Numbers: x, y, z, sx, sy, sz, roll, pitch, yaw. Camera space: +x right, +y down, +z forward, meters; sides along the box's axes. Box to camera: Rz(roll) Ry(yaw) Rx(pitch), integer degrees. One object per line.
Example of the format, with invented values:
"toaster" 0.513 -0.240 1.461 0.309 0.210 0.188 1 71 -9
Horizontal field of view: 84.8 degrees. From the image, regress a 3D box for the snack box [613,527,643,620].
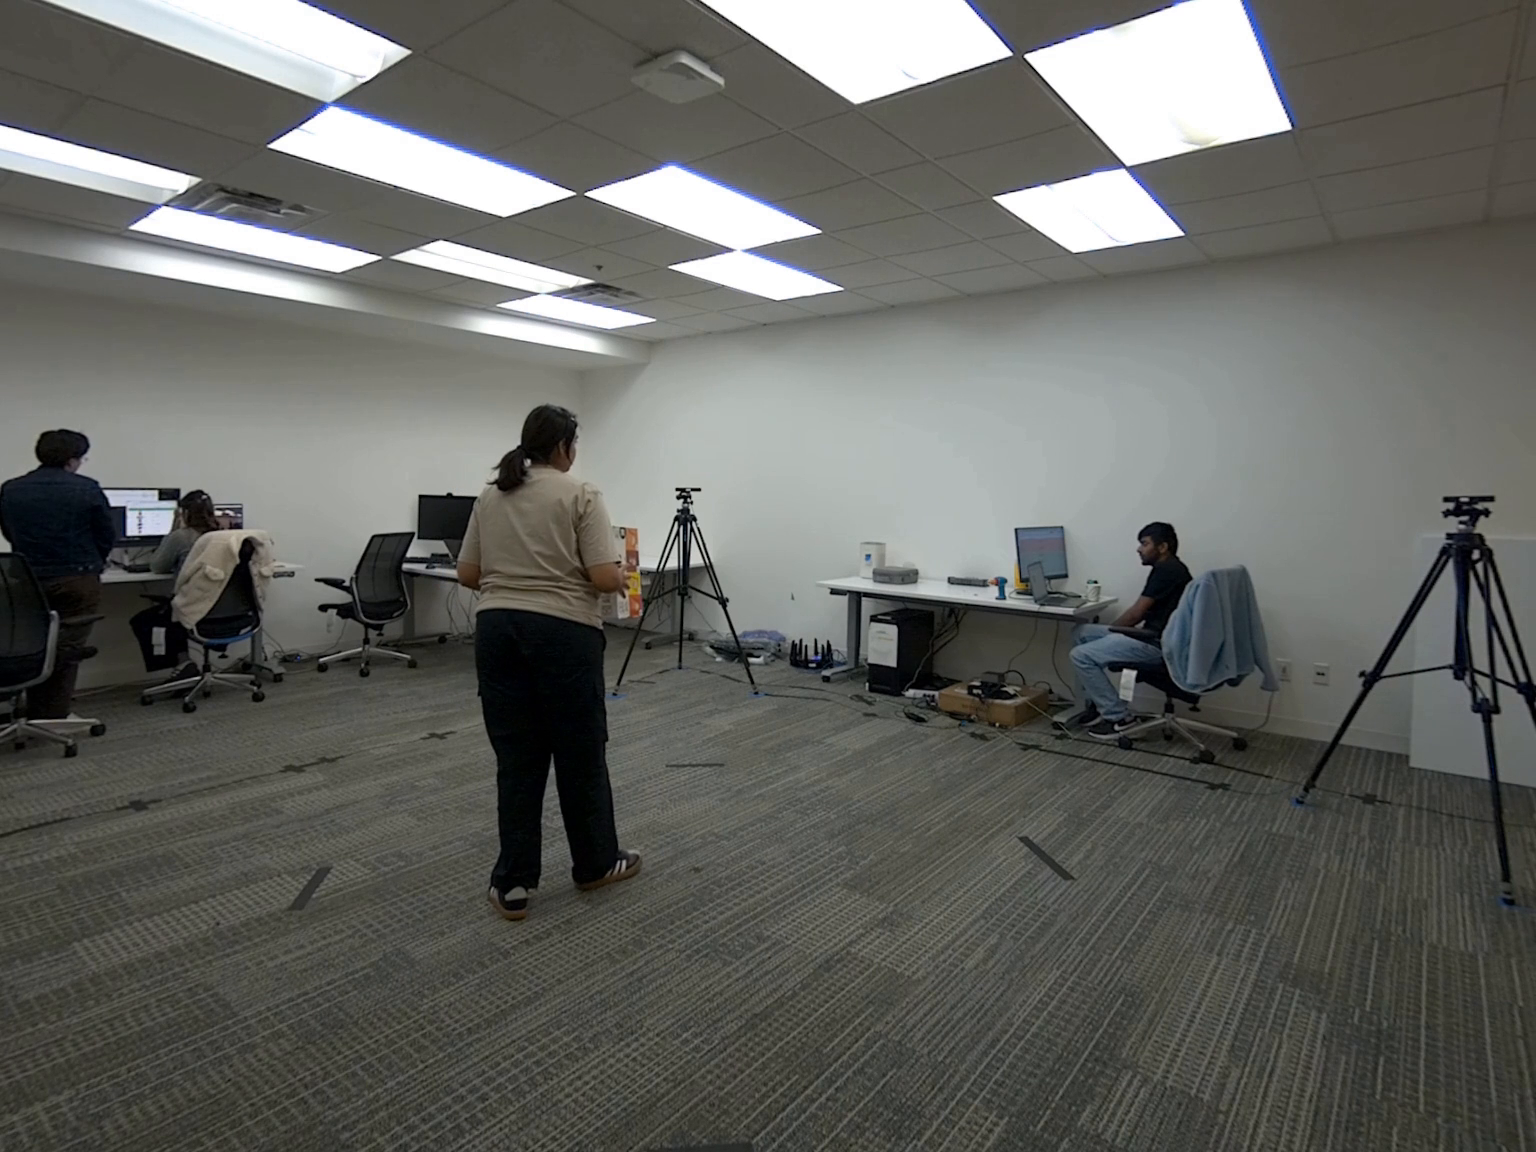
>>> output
"snack box" -0.715 -0.007 3.248 0.413 0.342 0.201 -5 -3 19
